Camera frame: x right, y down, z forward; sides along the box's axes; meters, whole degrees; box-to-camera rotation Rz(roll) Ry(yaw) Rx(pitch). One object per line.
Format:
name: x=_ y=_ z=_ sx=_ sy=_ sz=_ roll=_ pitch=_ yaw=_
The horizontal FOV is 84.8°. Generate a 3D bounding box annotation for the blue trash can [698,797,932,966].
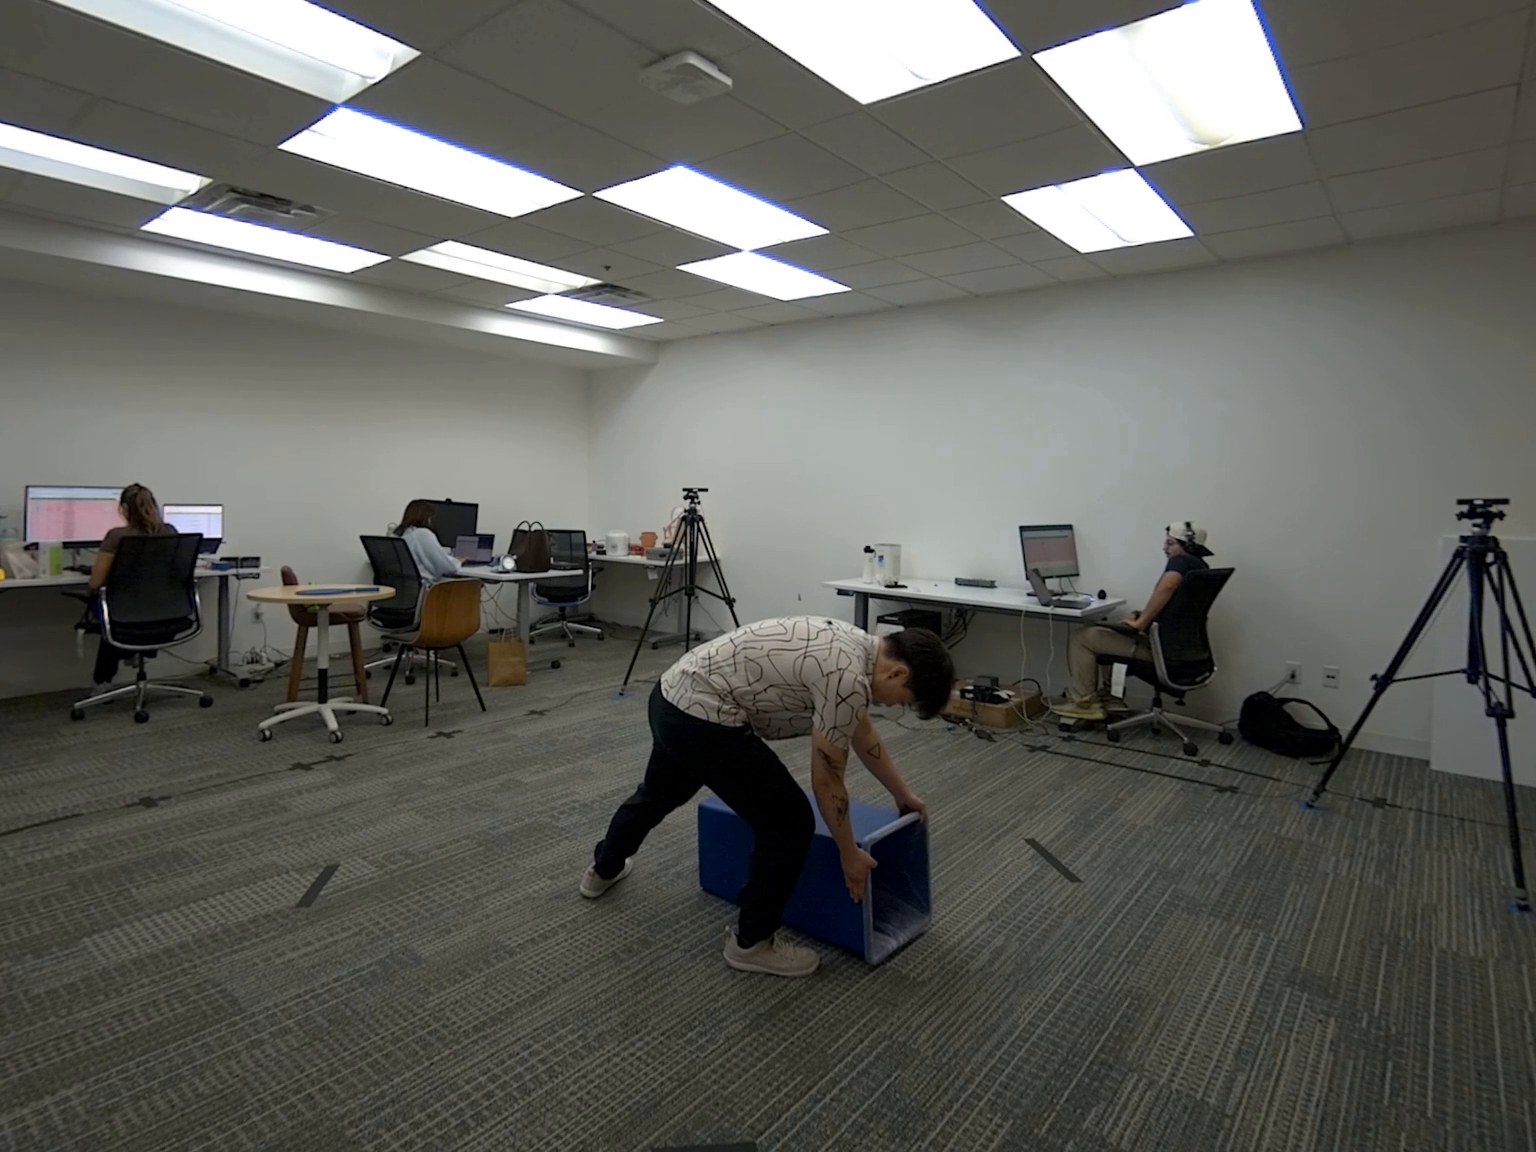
blue trash can: x=0.122 y=0.926 z=2.824 sx=0.737 sy=0.377 sz=0.363 roll=2 pitch=4 yaw=41
